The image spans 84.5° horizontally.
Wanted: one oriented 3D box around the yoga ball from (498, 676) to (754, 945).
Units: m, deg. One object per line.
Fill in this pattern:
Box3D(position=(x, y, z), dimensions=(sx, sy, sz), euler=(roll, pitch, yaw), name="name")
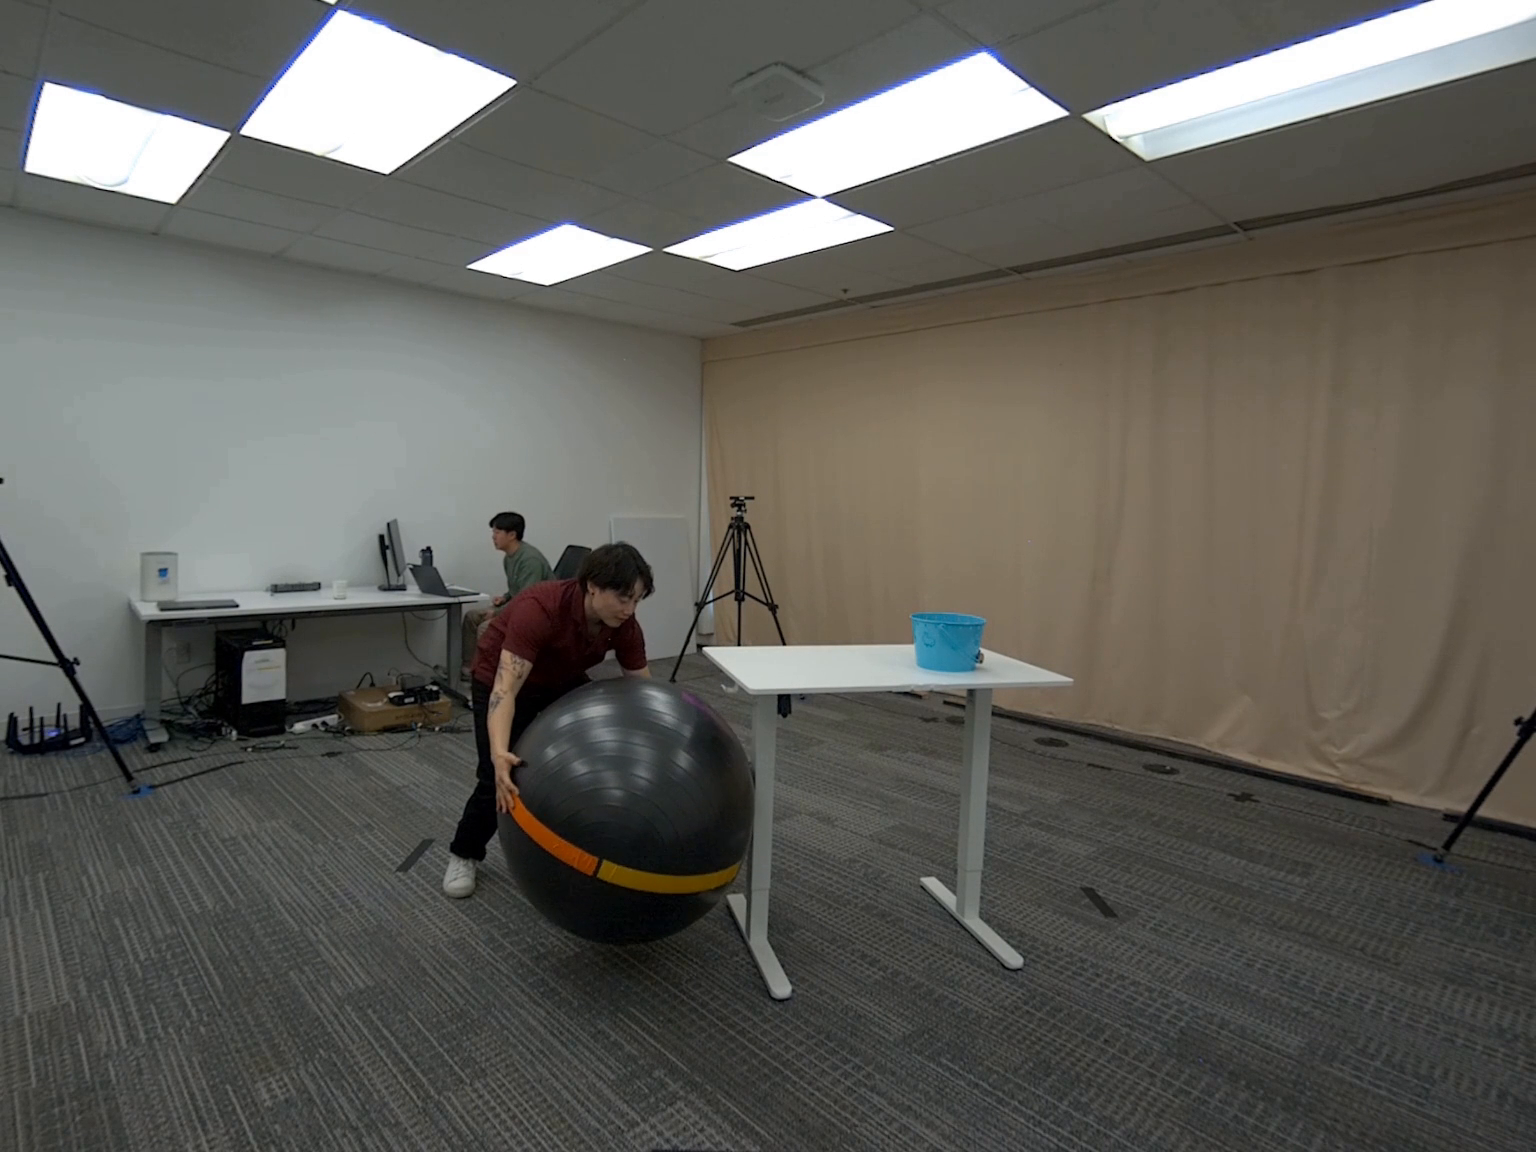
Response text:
Box3D(position=(-0.417, 0.692, 2.509), dimensions=(0.757, 0.756, 0.760), euler=(1, 4, -1), name="yoga ball")
